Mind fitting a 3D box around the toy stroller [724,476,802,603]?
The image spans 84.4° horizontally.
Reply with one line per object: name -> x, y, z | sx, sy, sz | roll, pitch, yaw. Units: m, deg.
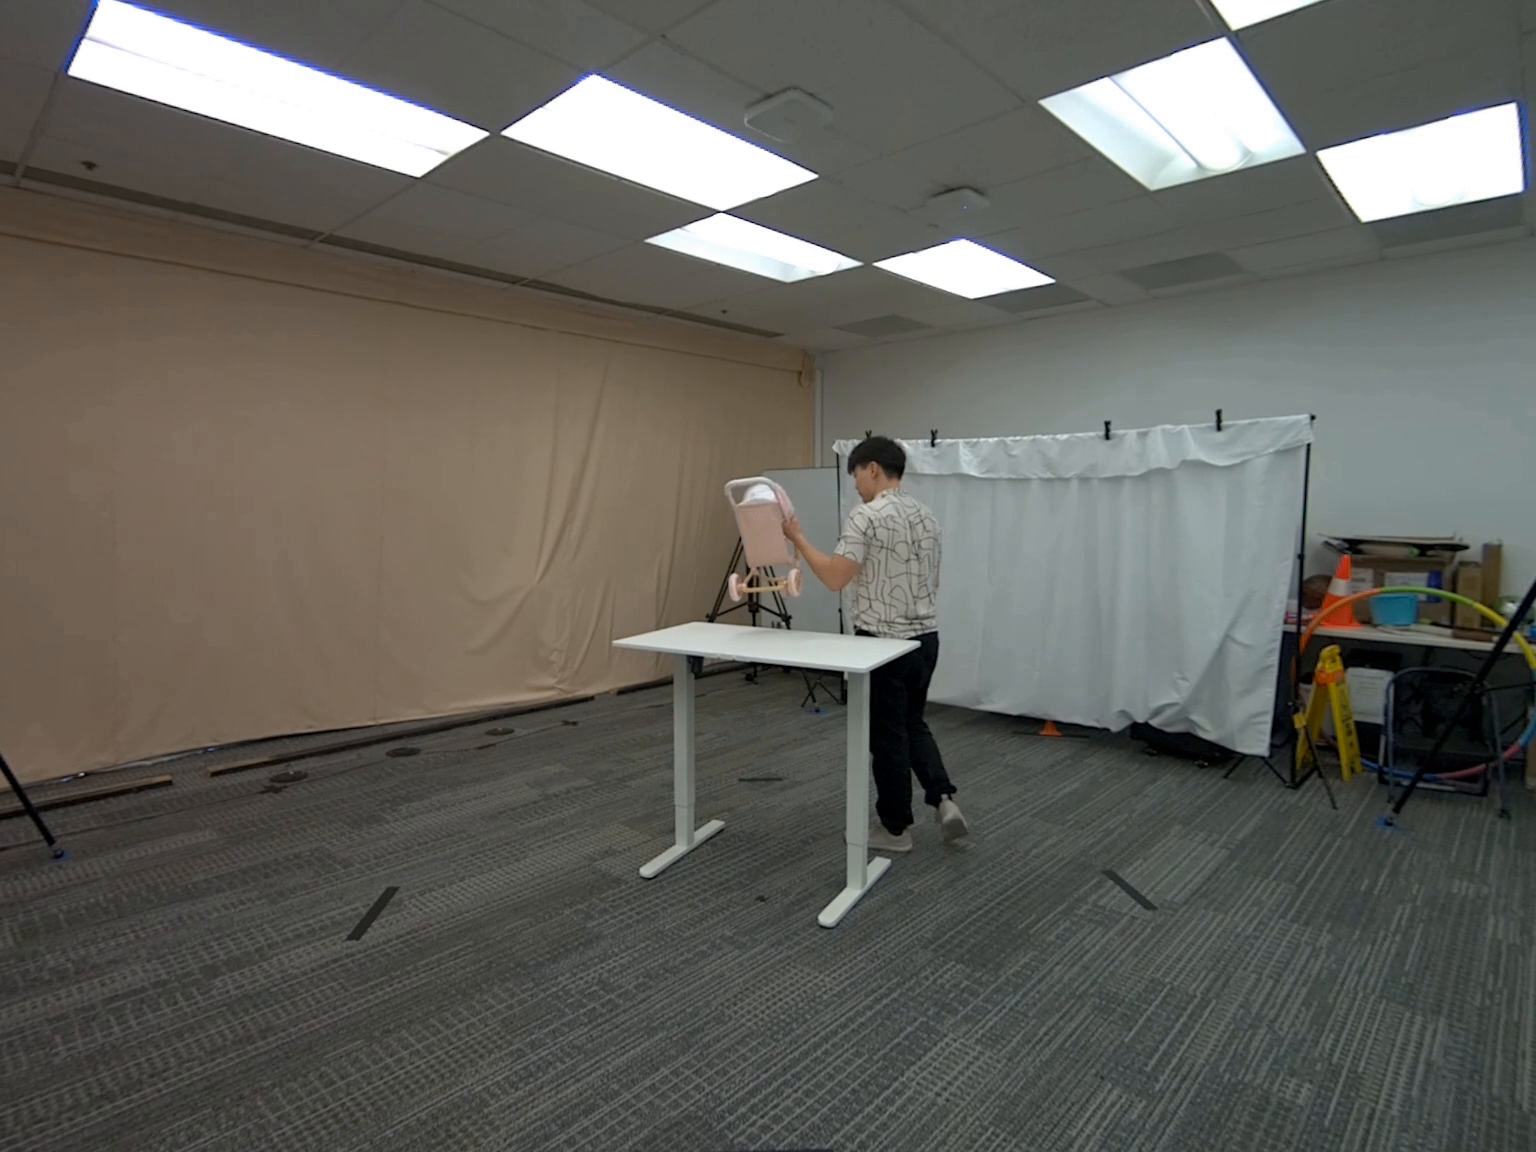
toy stroller -> 0.010, -0.135, 3.389 | 0.288, 0.532, 0.335 | -6, 7, 24
